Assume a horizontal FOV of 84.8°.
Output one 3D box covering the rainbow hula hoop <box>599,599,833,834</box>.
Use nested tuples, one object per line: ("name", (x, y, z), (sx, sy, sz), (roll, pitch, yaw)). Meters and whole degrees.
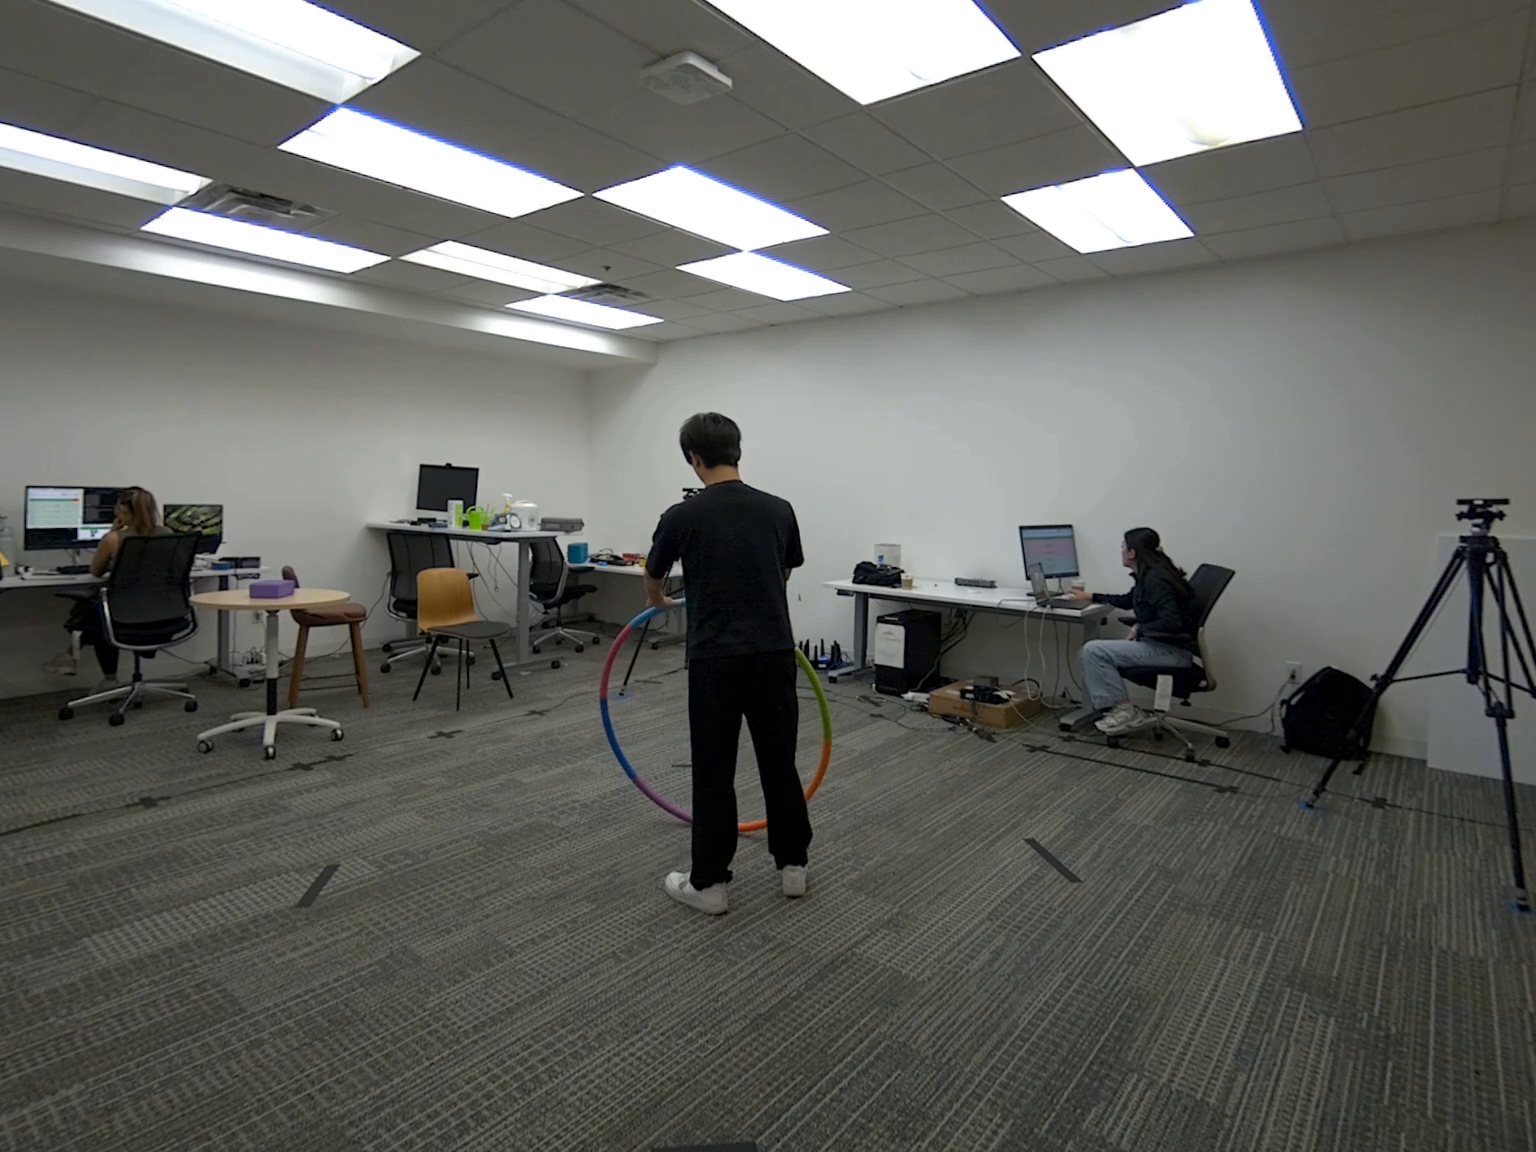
("rainbow hula hoop", (-0.241, 0.564, 3.386), (1.000, 0.967, 0.035), (3, 12, 21))
